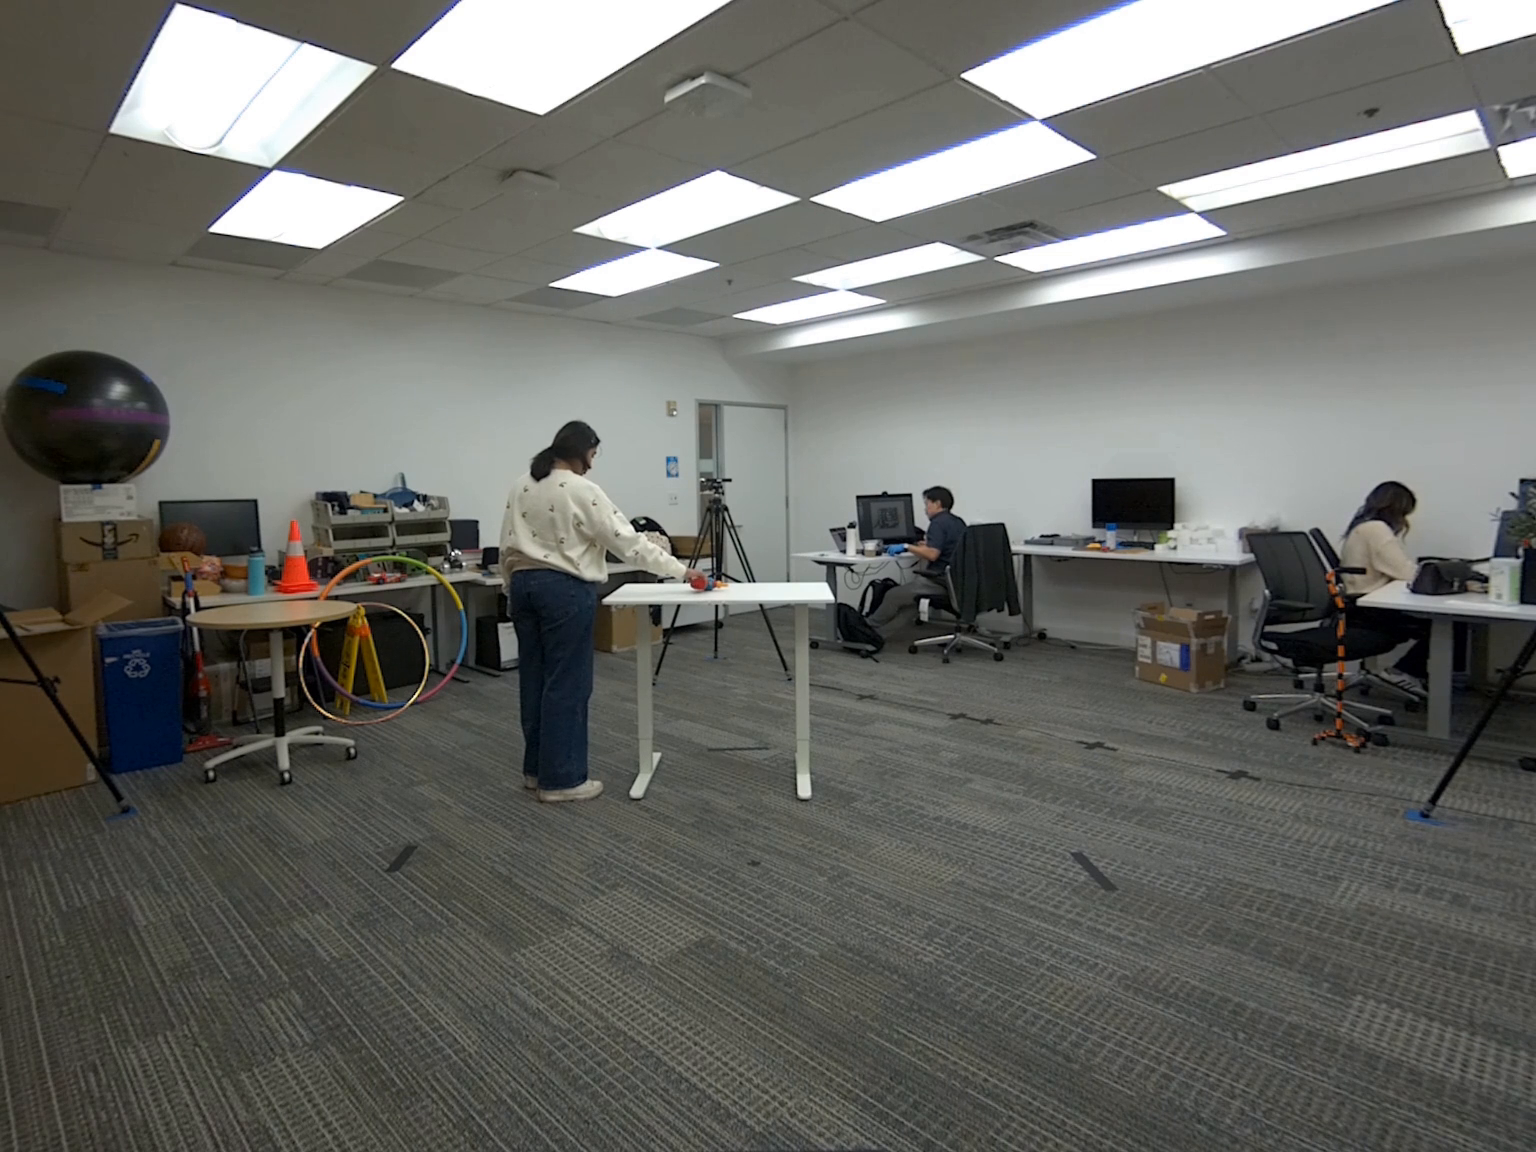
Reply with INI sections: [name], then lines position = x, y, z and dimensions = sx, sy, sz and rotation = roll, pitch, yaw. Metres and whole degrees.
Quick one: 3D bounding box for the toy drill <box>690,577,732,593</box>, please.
[toy drill]
position = -0.262, 0.036, 3.924
dimensions = 0.171, 0.061, 0.145
rotation = 4, 0, 6
